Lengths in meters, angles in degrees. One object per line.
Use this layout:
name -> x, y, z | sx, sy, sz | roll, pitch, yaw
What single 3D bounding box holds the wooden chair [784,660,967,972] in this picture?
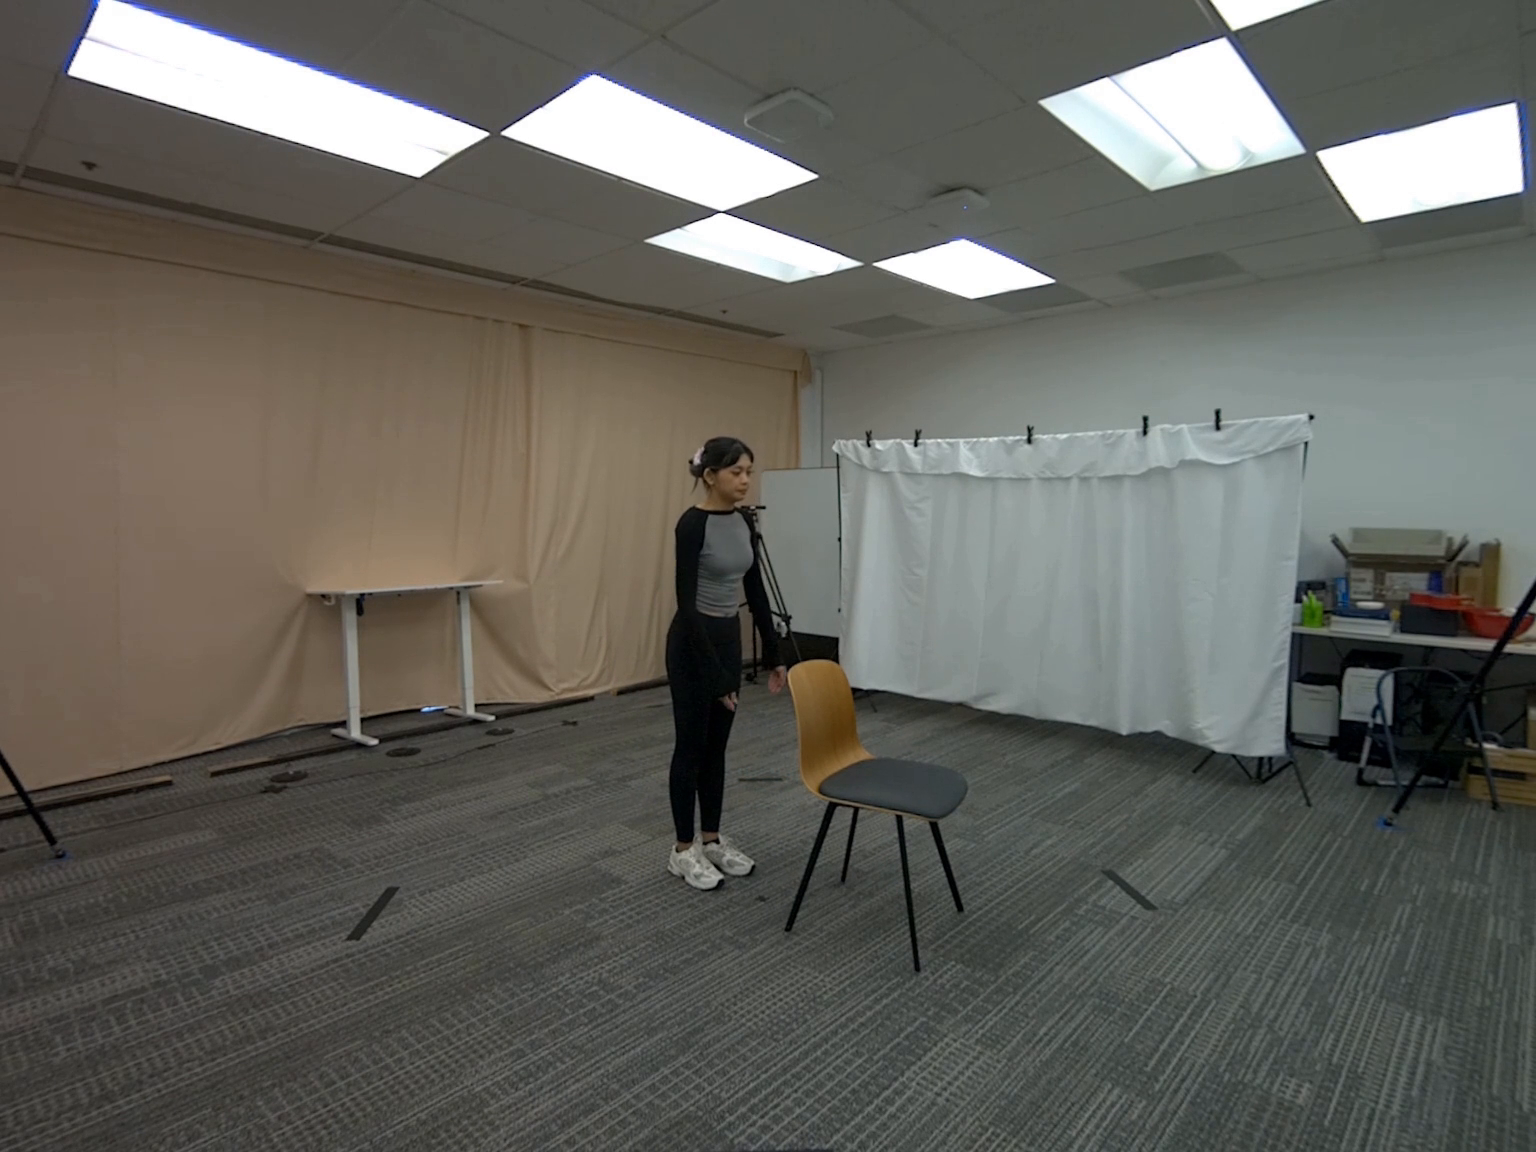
wooden chair -> 0.375, 0.731, 2.787 | 0.538, 0.877, 0.465 | -4, 1, 32
